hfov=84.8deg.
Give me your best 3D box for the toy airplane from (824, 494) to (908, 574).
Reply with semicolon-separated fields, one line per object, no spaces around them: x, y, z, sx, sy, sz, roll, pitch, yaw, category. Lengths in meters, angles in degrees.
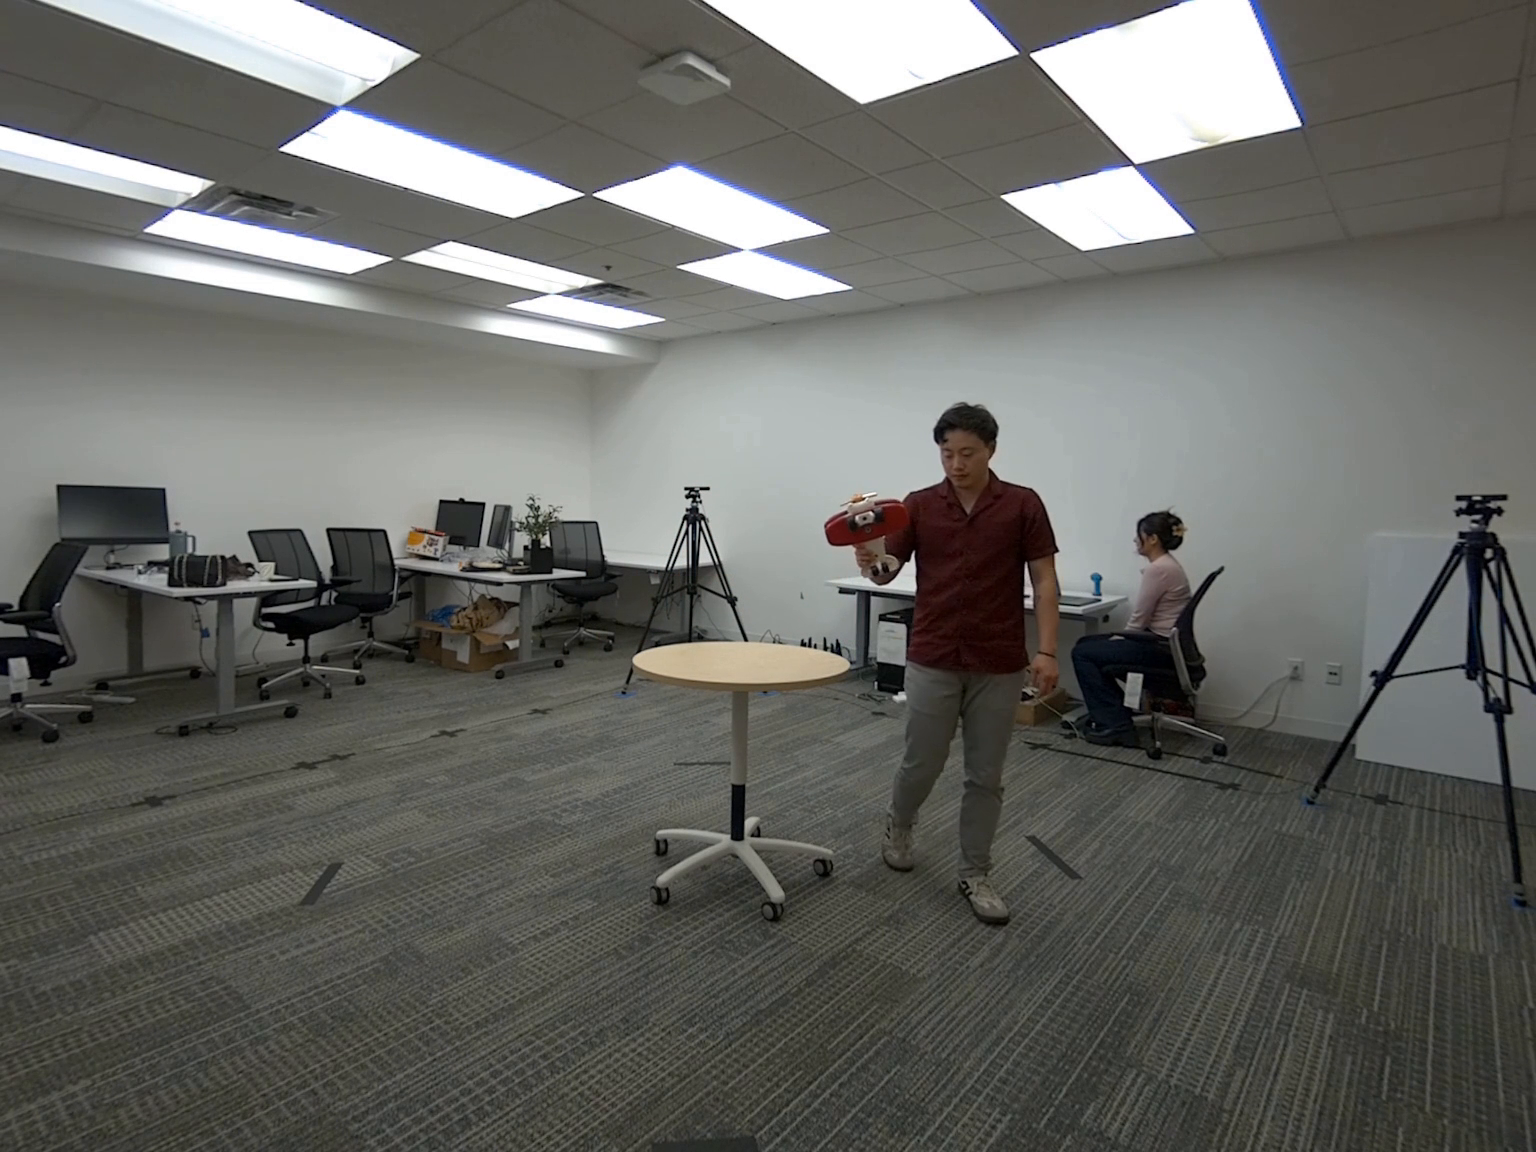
0.291;-0.122;2.646;0.249;0.255;0.160;9;27;-6;toy airplane
